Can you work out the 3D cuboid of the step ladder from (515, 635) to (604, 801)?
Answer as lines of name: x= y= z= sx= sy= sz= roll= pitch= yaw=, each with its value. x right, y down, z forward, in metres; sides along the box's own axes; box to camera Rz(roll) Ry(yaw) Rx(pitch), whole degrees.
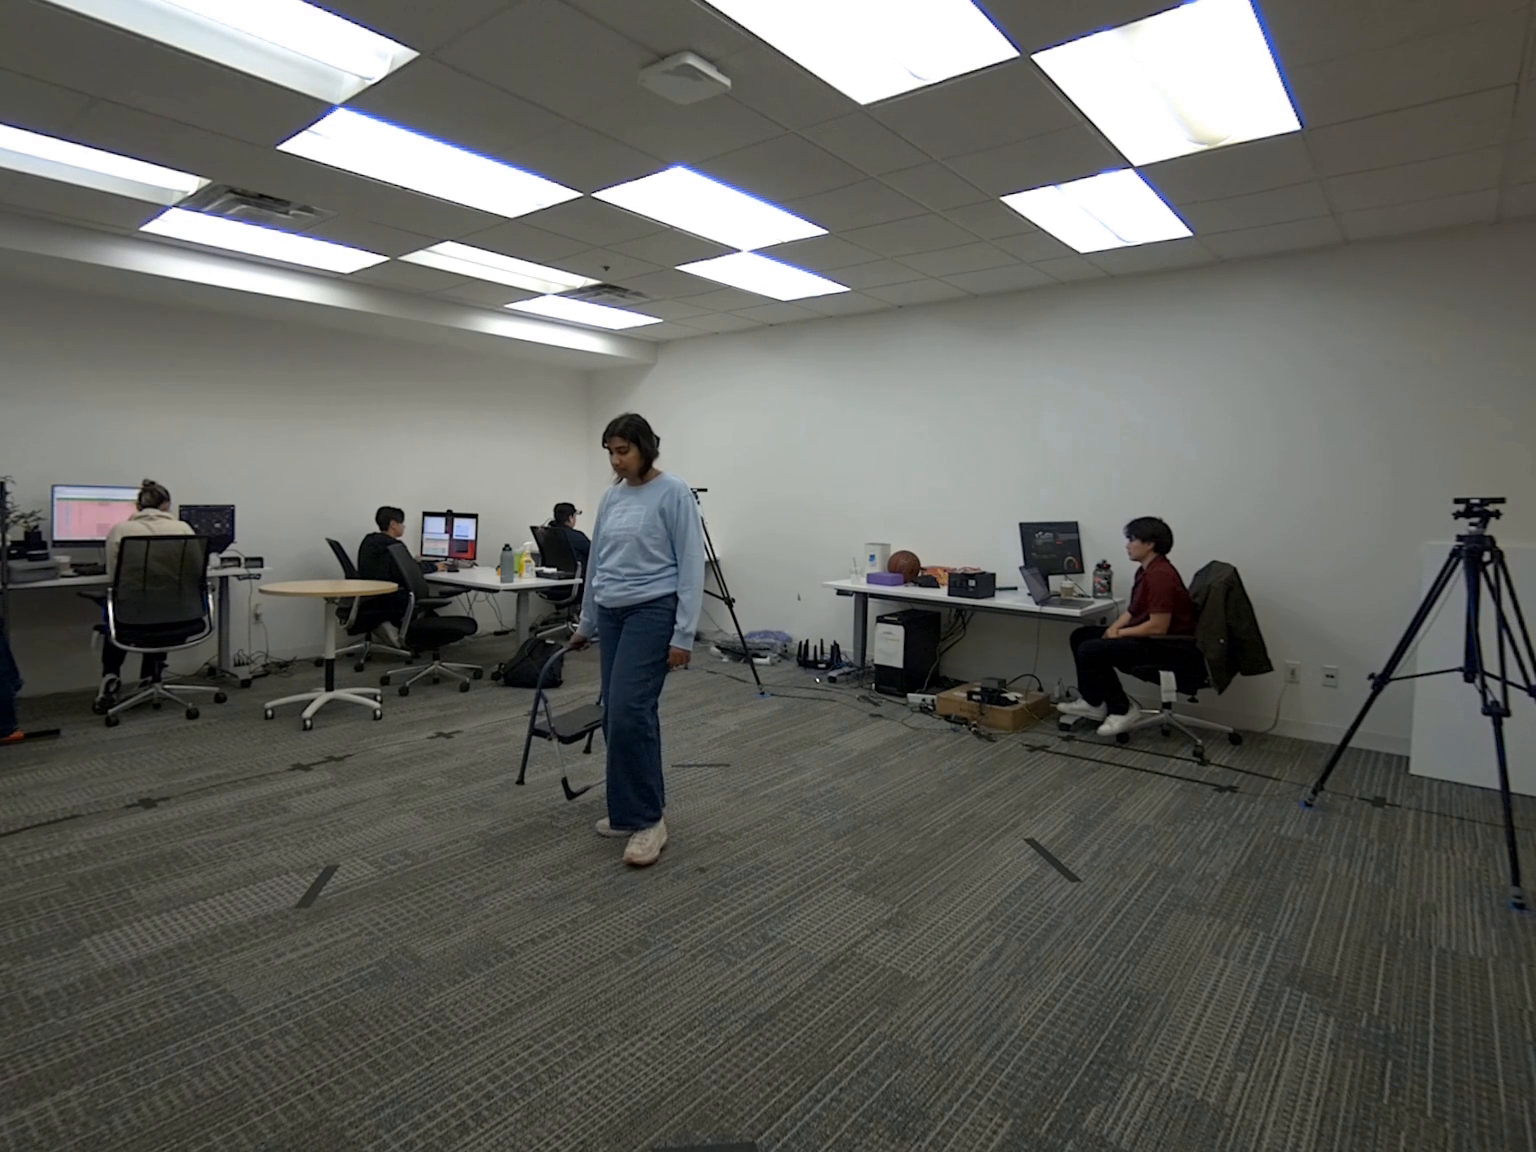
step ladder: x=-0.856 y=0.575 z=3.683 sx=0.360 sy=0.601 sz=0.421 roll=3 pitch=10 yaw=35
